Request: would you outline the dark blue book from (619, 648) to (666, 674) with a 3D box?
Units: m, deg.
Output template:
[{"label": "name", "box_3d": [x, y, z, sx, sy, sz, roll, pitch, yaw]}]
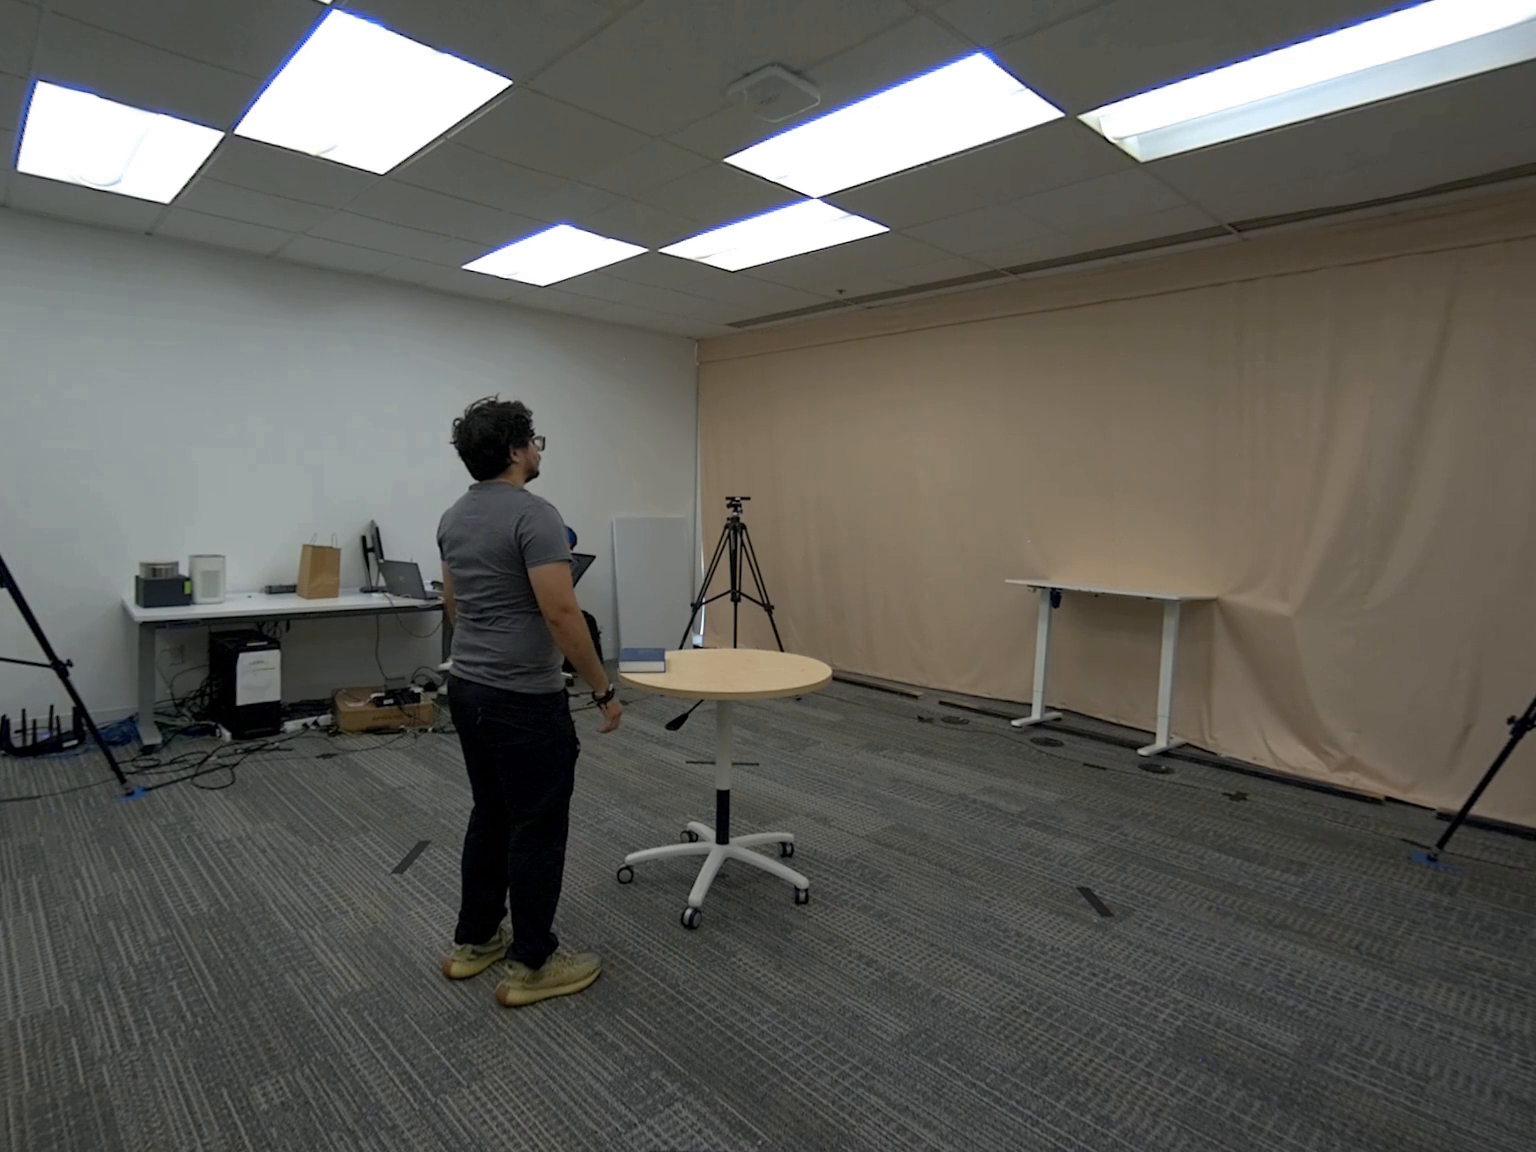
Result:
[{"label": "dark blue book", "box_3d": [-0.468, 0.307, 3.039, 0.162, 0.045, 0.247, 1, 5, -7]}]
